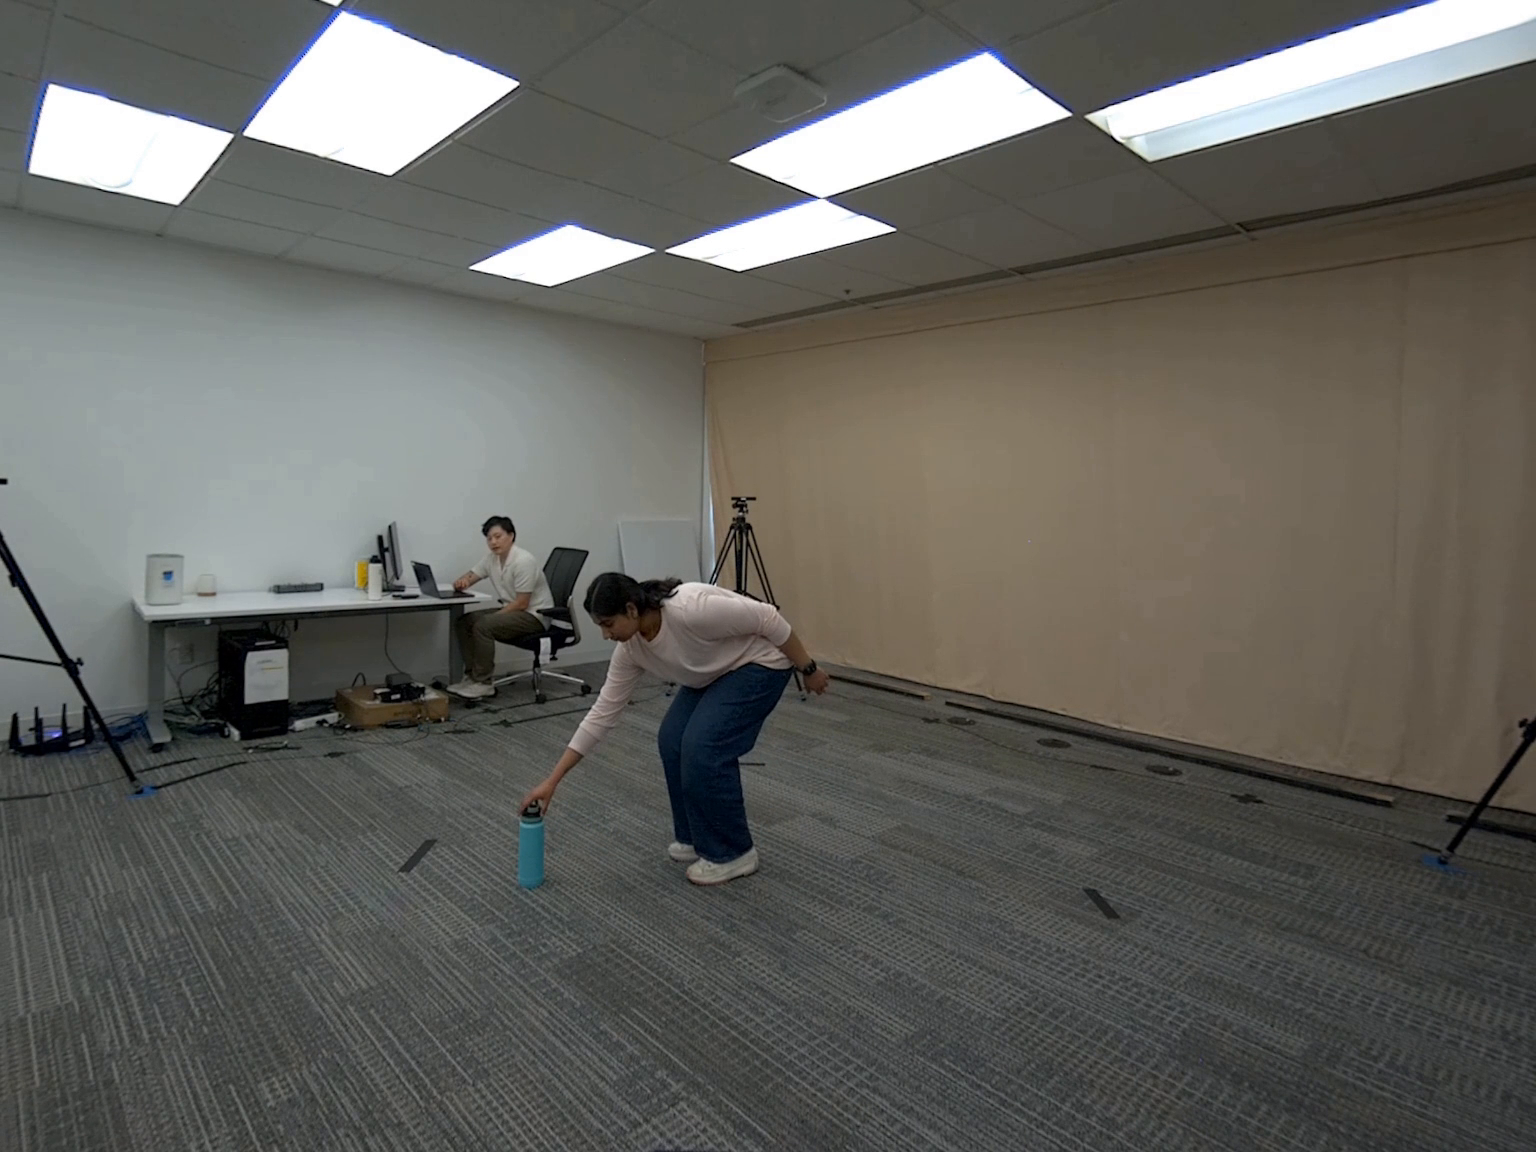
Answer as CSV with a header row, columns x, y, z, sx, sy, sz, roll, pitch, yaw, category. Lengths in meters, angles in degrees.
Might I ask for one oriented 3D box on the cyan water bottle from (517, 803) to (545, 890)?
x,y,z,sx,sy,sz,roll,pitch,yaw,category
-0.851,0.959,3.006,0.092,0.282,0.092,2,4,-2,cyan water bottle
